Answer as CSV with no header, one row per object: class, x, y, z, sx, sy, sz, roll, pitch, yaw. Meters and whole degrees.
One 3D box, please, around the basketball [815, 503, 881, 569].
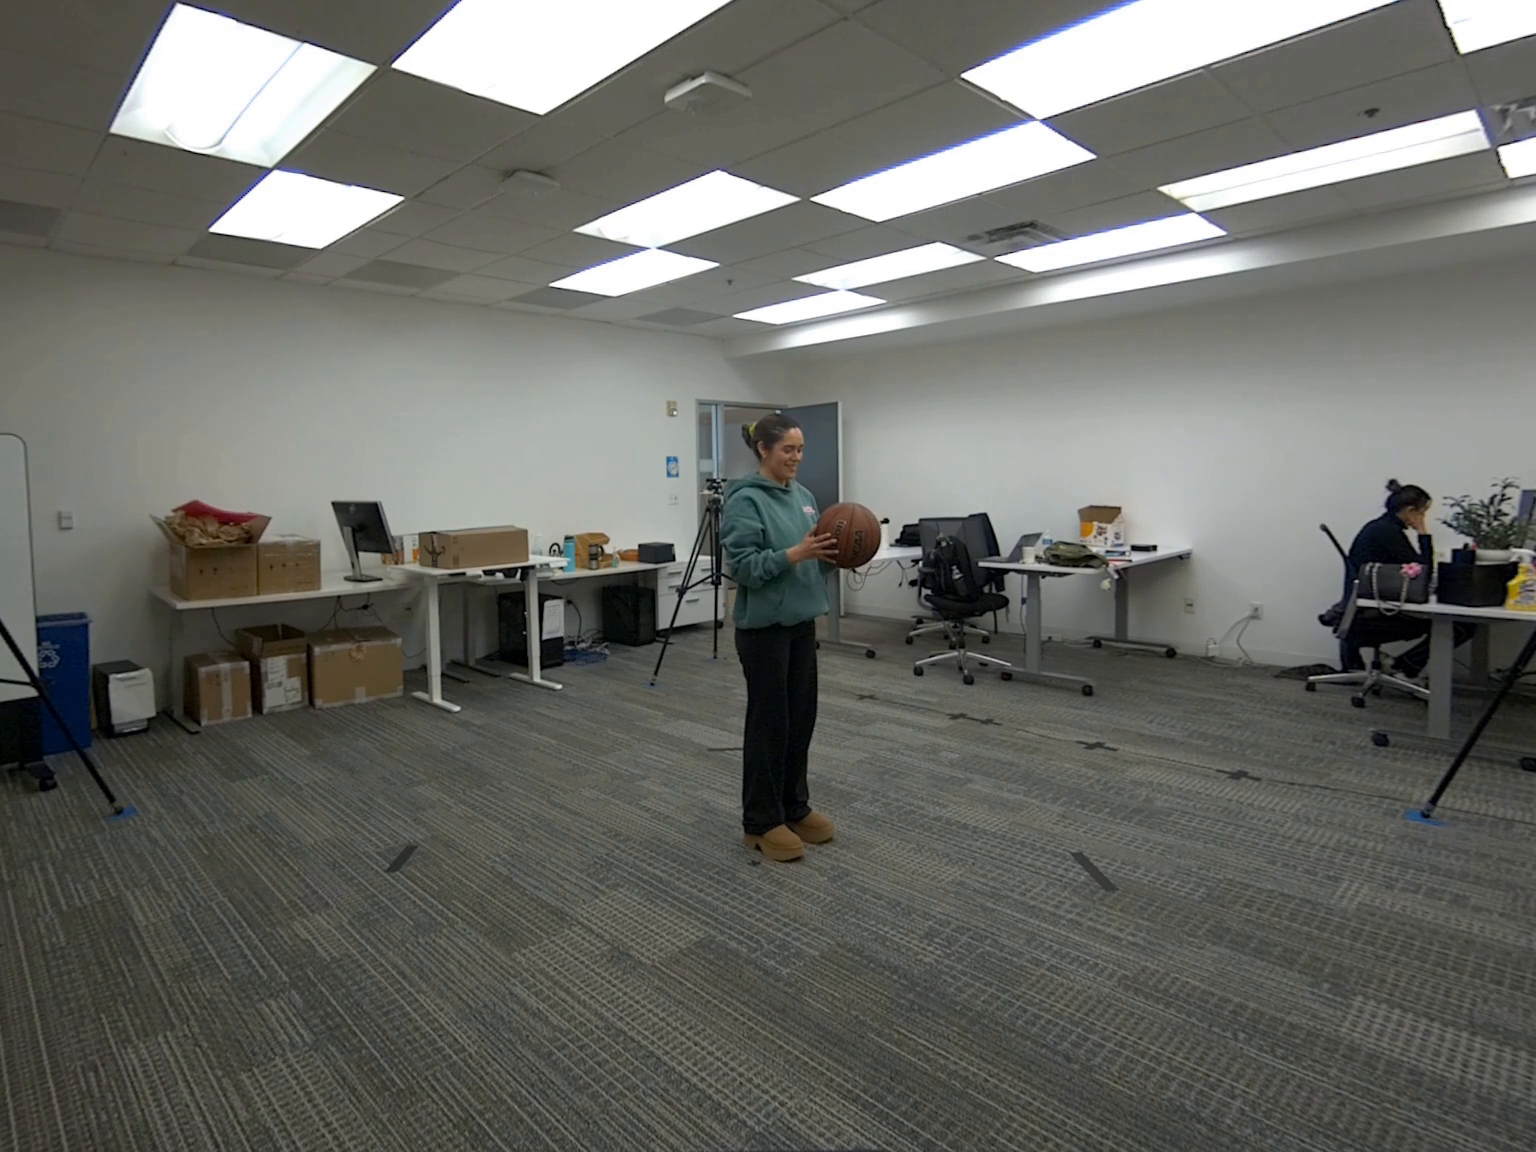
basketball,0.282,-0.141,2.999,0.236,0.235,0.237,-1,5,-2
